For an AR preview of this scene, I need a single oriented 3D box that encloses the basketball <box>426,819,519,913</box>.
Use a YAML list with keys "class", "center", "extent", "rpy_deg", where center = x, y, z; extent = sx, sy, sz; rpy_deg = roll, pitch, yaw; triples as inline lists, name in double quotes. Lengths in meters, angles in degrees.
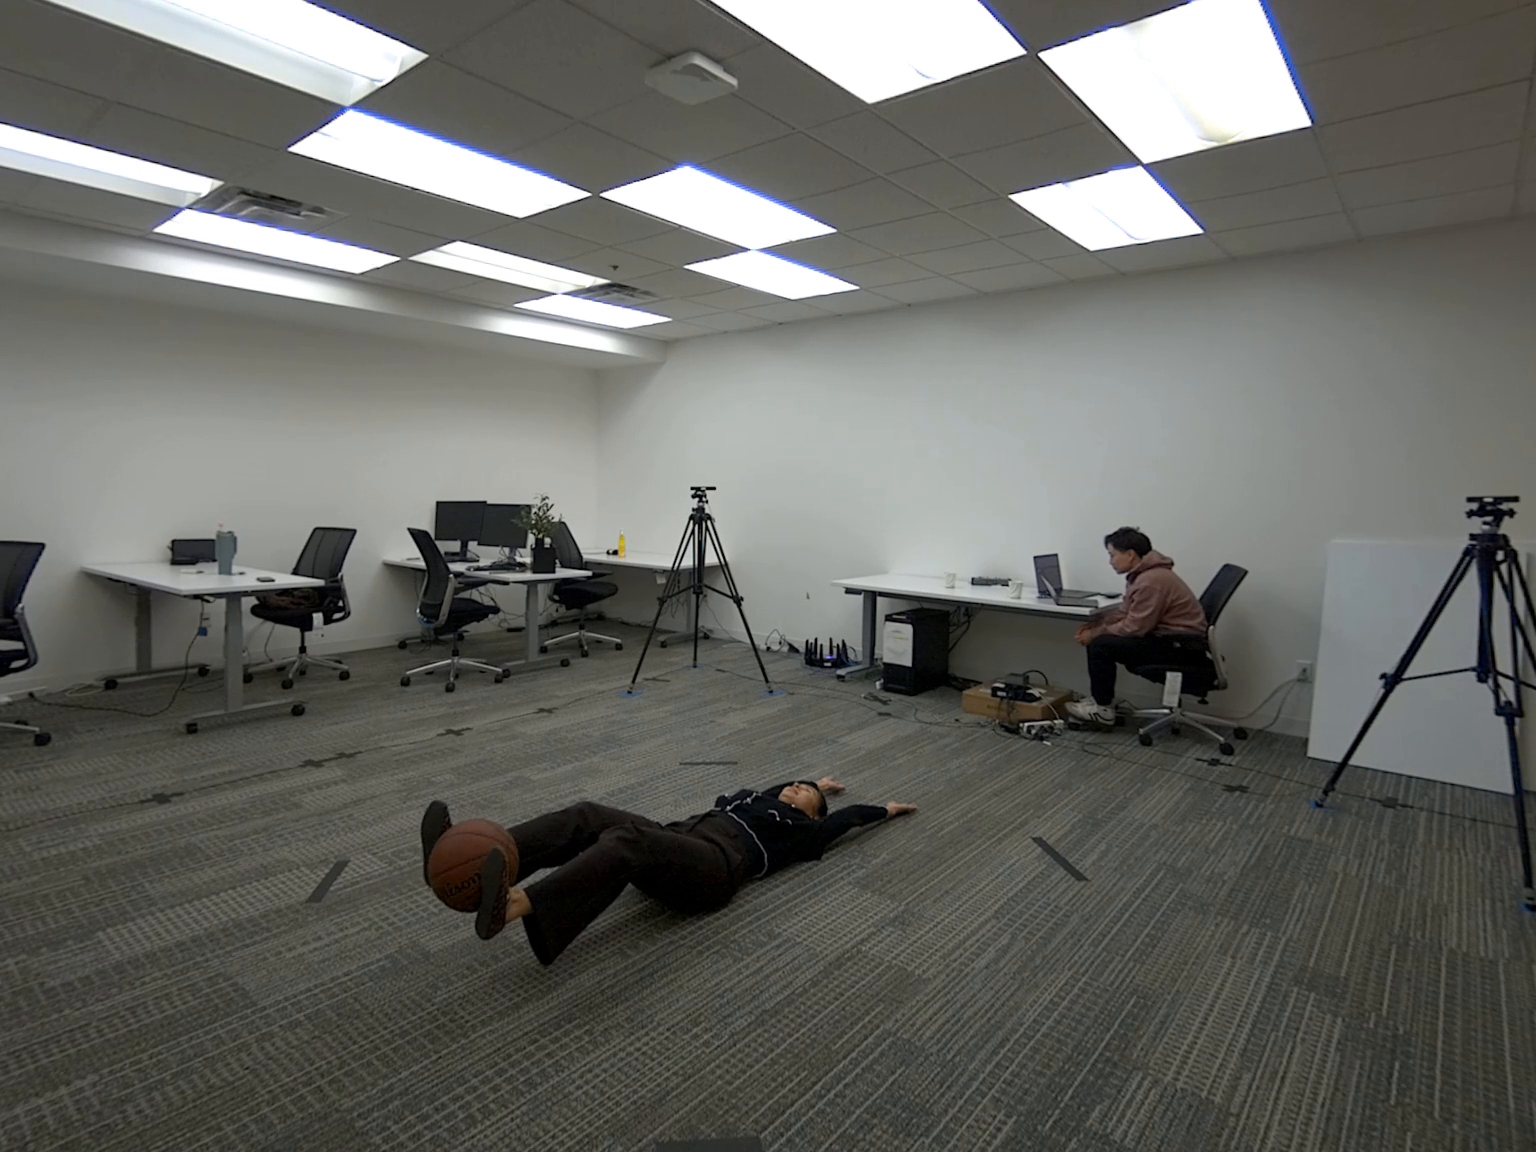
- class: "basketball"
  center: [-0.807, 0.780, 2.291]
  extent: [0.236, 0.235, 0.237]
  rpy_deg: [1, 4, -2]
